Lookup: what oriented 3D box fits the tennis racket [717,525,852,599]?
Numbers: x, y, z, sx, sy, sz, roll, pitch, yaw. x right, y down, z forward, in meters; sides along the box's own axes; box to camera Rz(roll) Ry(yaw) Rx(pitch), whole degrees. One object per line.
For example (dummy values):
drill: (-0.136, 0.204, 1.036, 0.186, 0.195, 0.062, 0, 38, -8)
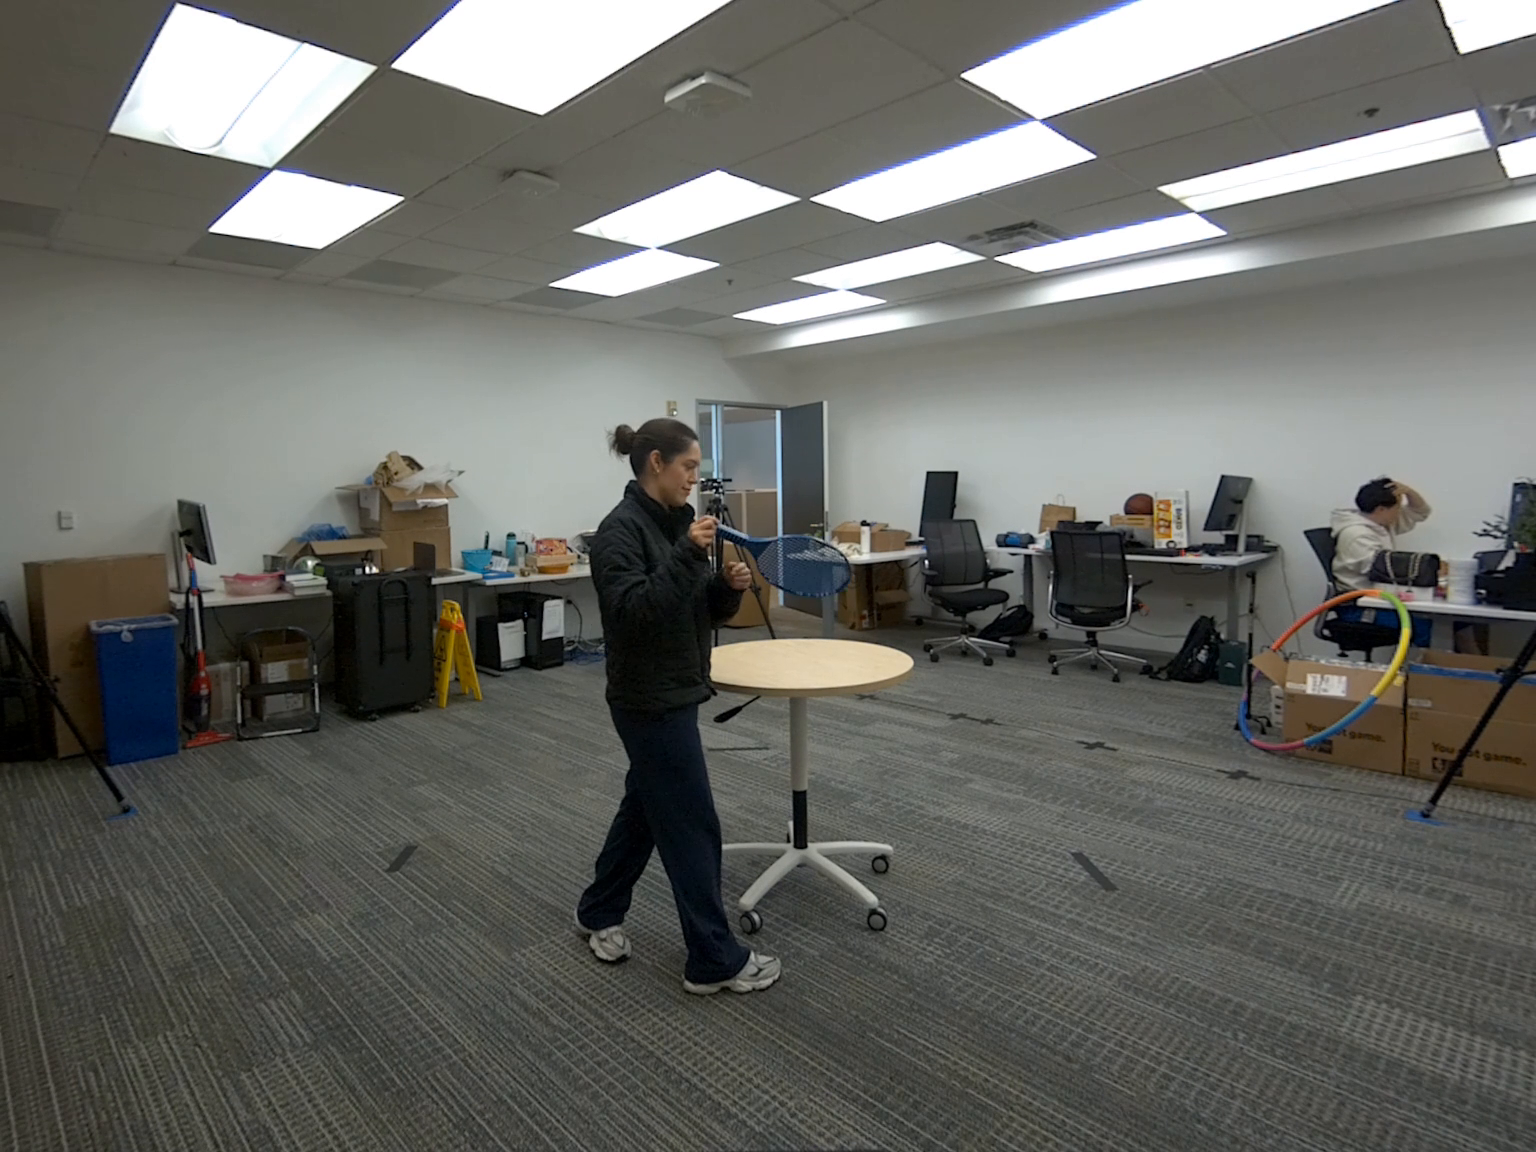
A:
tennis racket: (0.012, -0.058, 2.251, 0.423, 0.032, 0.213, 25, -49, -19)
